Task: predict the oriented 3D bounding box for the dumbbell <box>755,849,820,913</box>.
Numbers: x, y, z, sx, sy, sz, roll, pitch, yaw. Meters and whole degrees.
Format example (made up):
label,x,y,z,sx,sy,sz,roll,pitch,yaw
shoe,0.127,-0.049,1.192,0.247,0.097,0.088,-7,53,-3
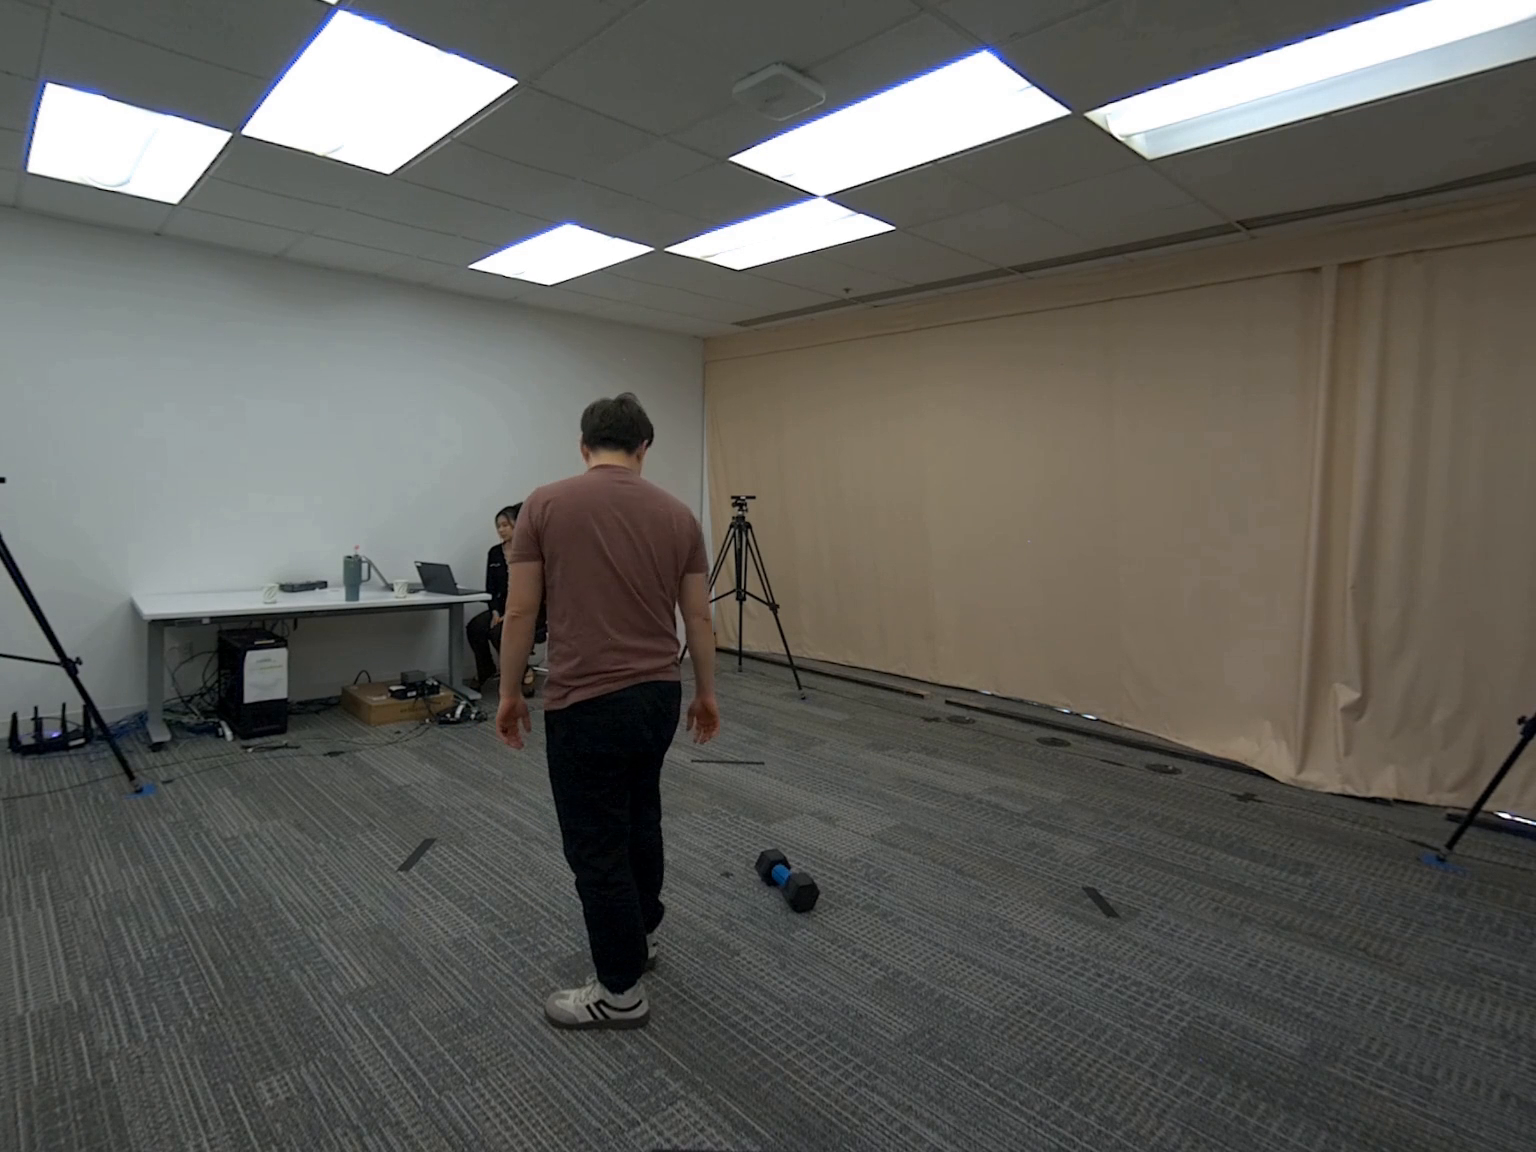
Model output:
label,x,y,z,sx,sy,sz,roll,pitch,yaw
dumbbell,0.058,1.066,2.952,0.106,0.123,0.299,33,-10,-24
